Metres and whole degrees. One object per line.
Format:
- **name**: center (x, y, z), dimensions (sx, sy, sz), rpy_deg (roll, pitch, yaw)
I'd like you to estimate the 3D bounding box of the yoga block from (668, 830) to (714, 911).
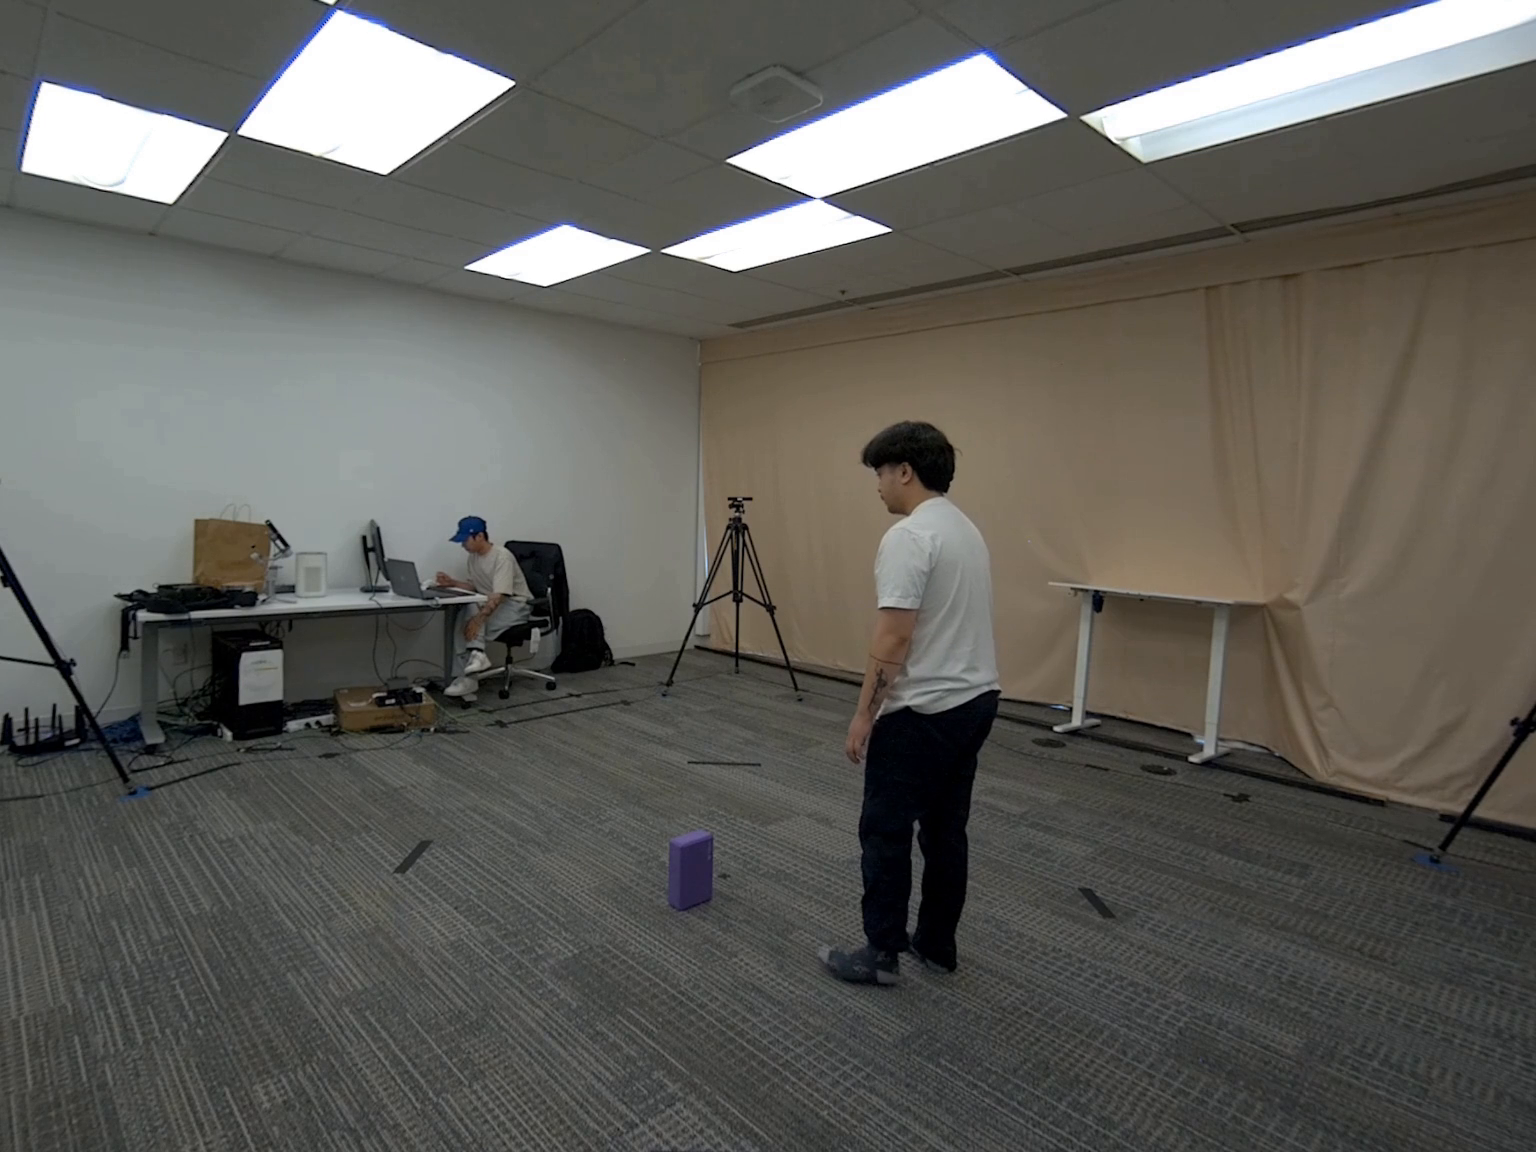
- **yoga block**: center (-0.273, 1.009, 2.890), dimensions (0.146, 0.229, 0.078), rpy_deg (-3, 5, -43)
